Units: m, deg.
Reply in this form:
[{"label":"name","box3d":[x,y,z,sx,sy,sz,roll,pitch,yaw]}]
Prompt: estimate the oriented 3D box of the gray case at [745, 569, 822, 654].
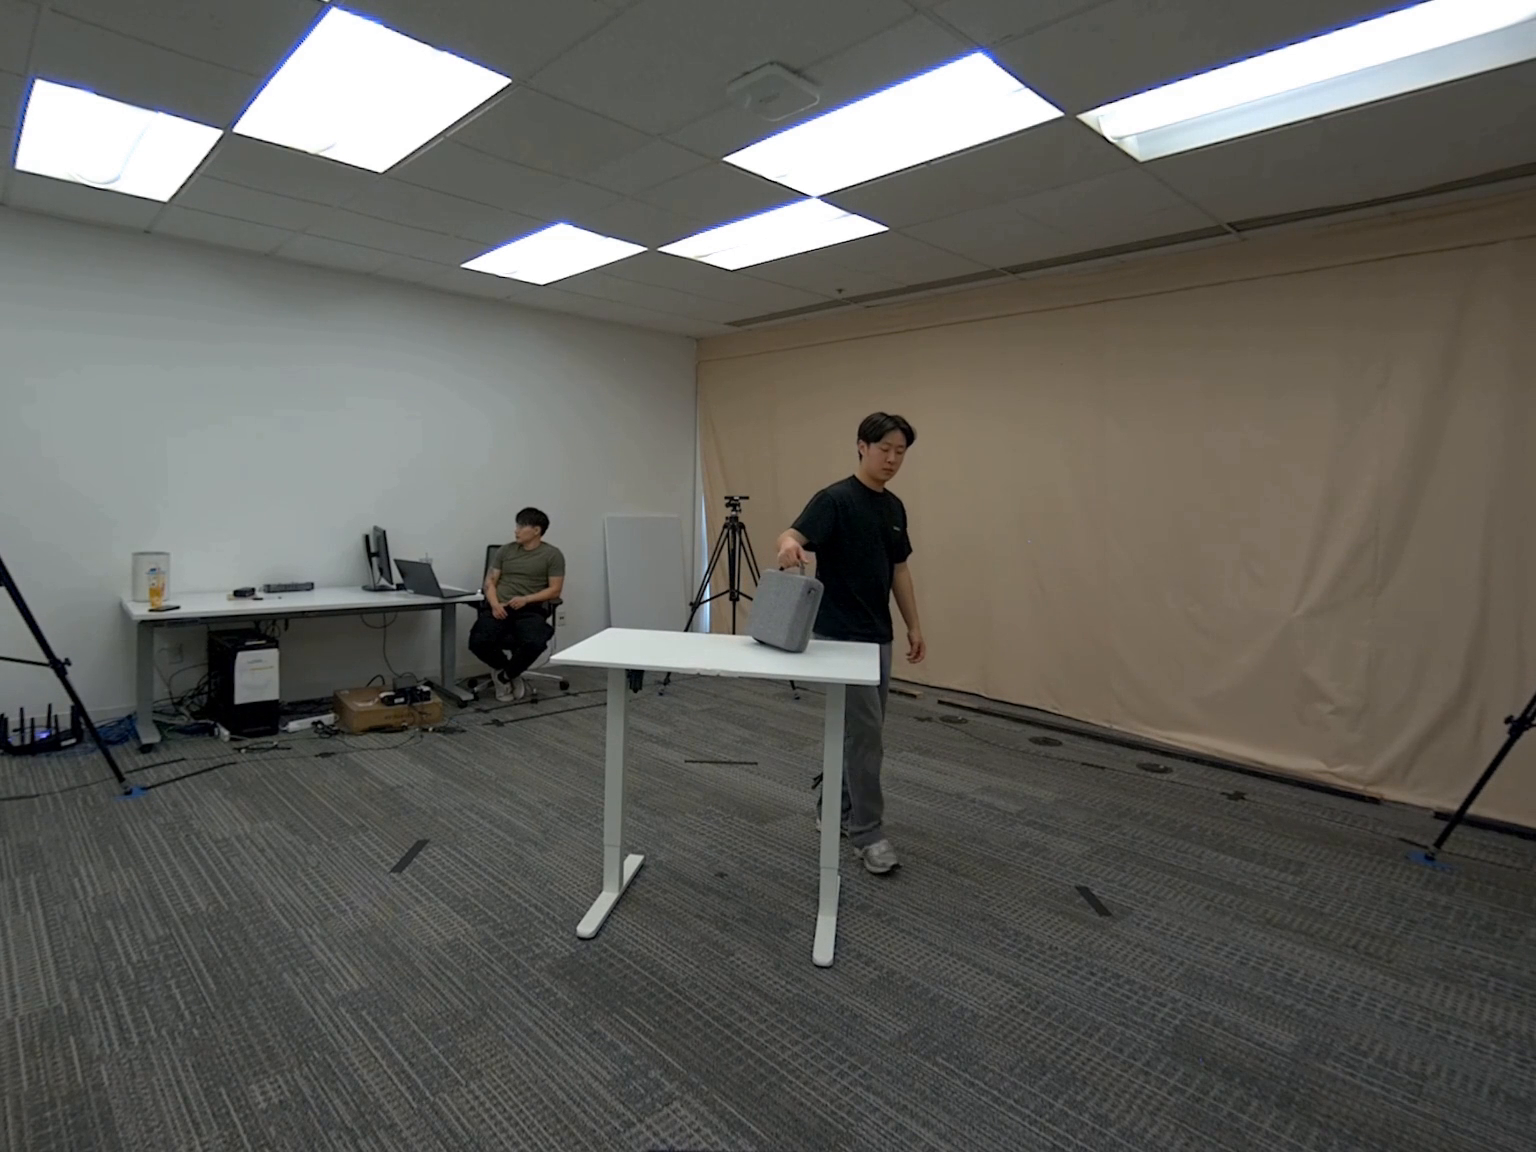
[{"label":"gray case","box3d":[0.050,0.105,2.876,0.100,0.288,0.270,17,-5,-37]}]
